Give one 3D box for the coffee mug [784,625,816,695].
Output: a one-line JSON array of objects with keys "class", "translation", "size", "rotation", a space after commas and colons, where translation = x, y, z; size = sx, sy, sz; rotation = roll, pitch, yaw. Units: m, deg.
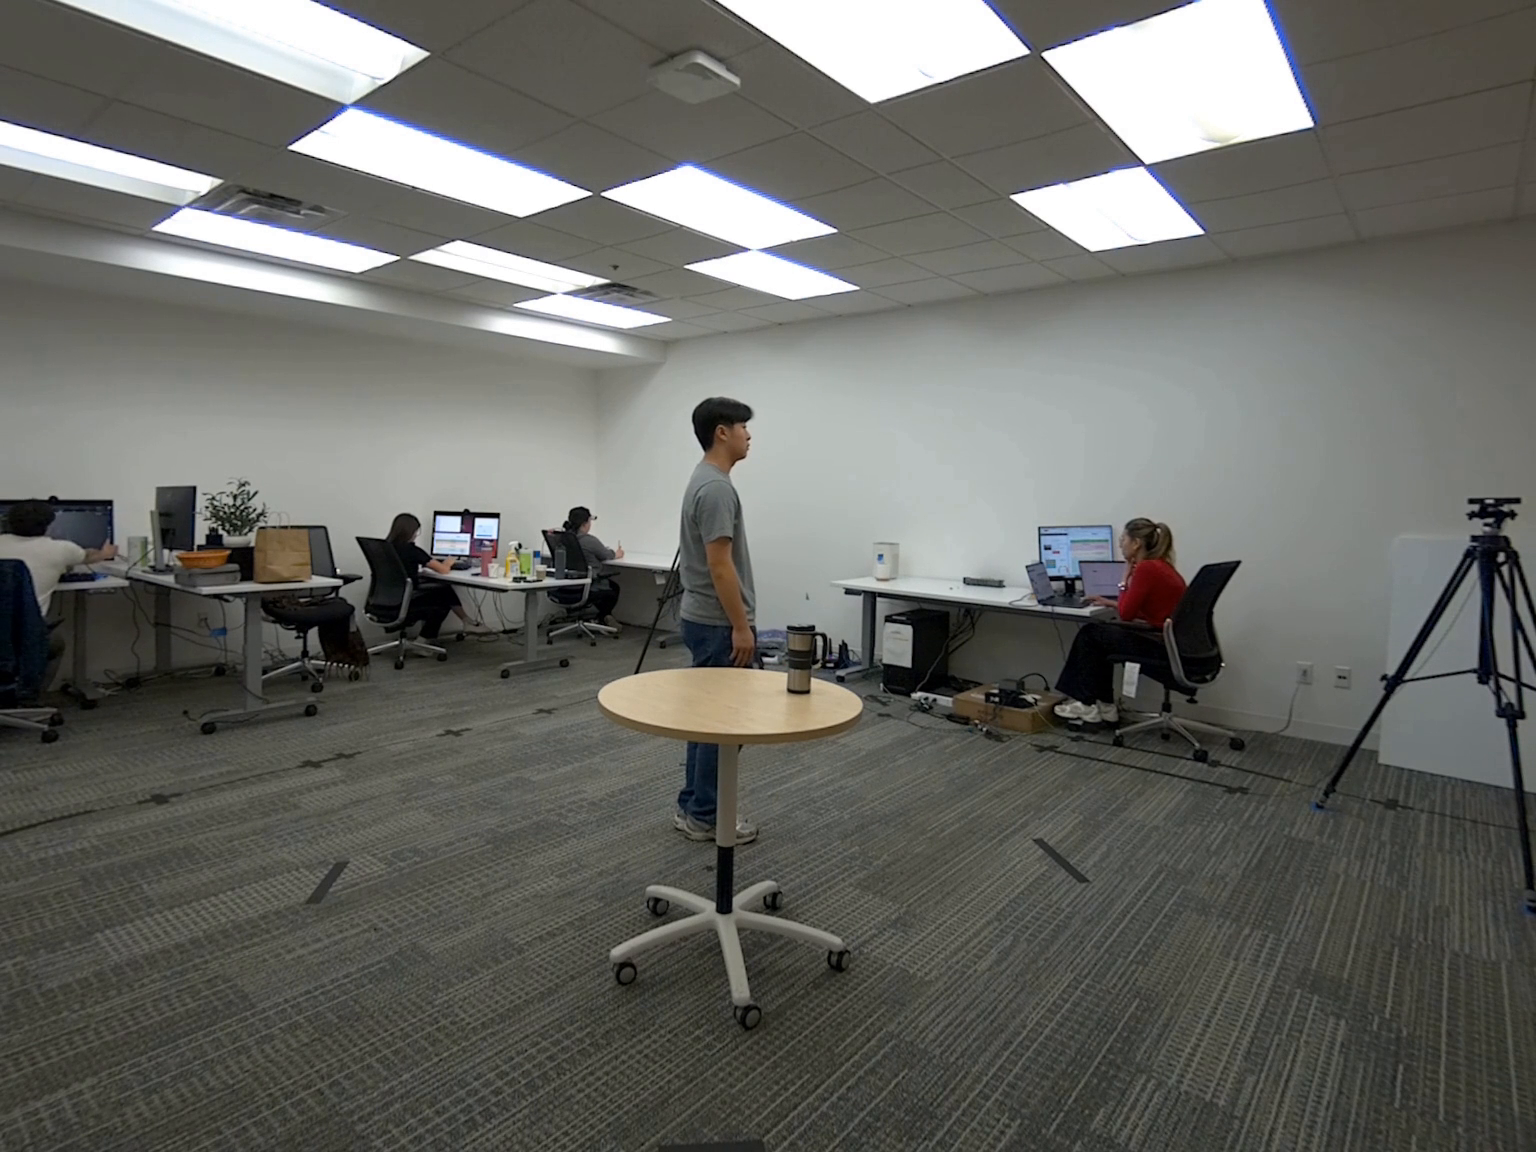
[{"class": "coffee mug", "translation": [0.108, 0.247, 2.533], "size": [0.126, 0.203, 0.085], "rotation": [2, 1, 35]}]
